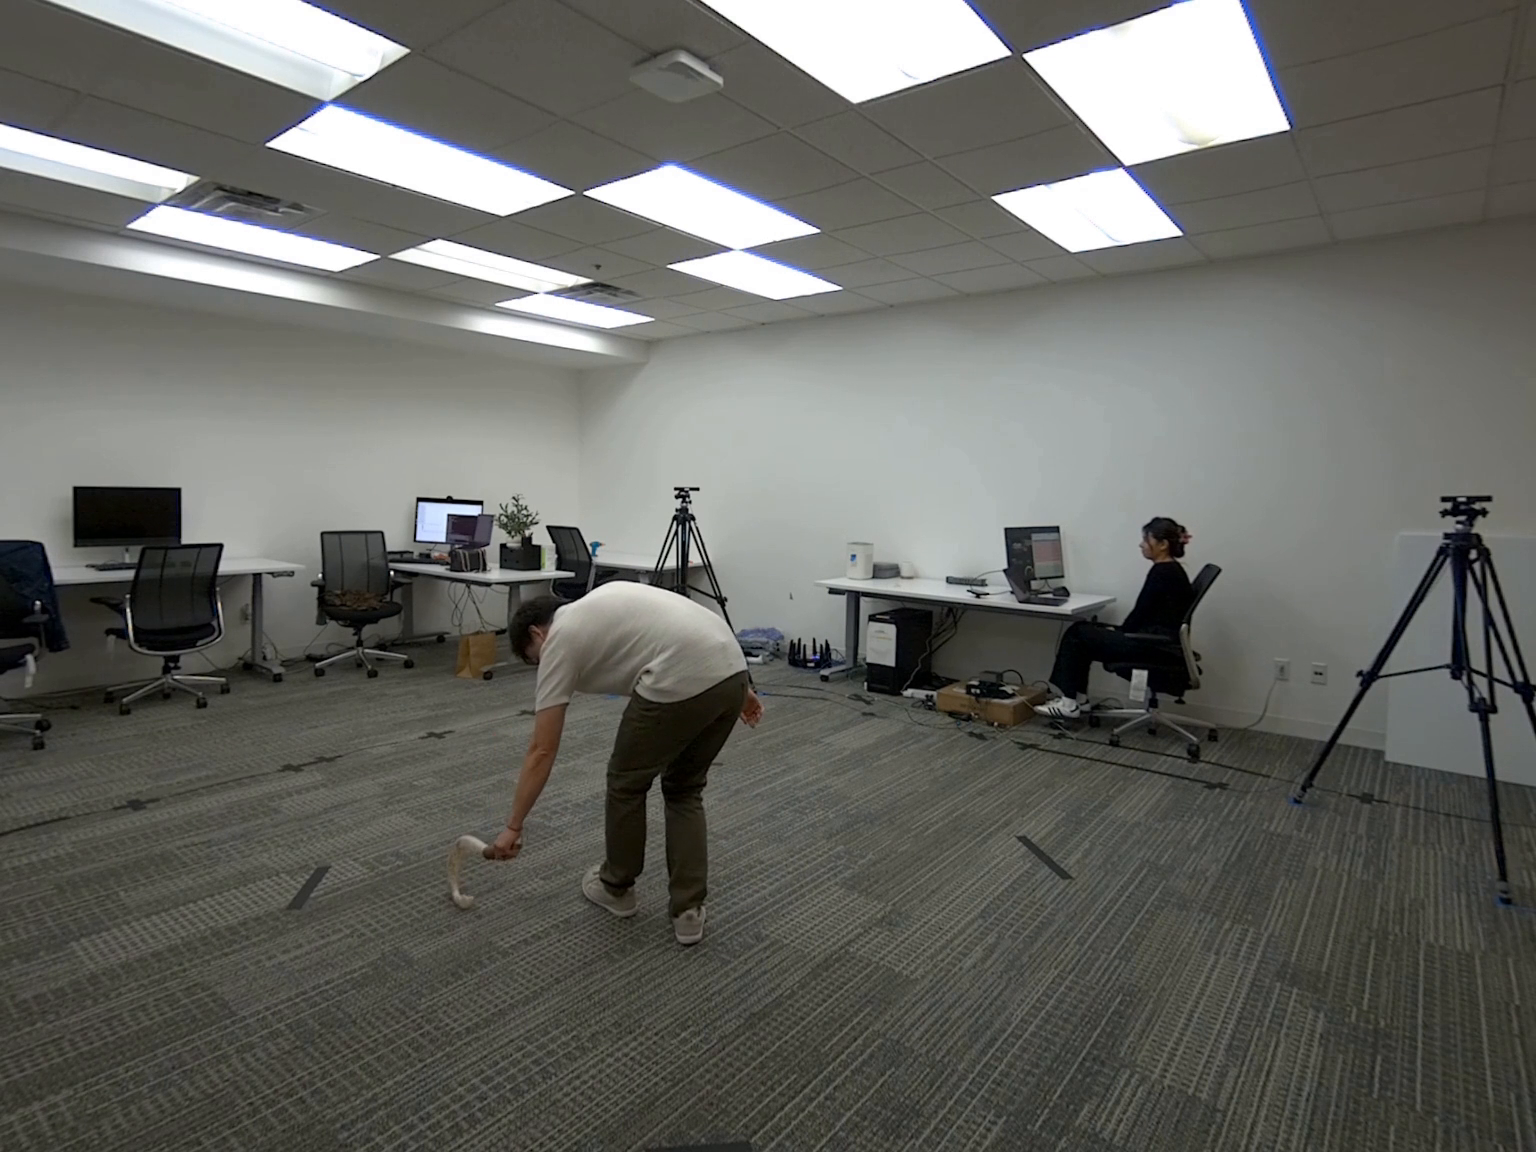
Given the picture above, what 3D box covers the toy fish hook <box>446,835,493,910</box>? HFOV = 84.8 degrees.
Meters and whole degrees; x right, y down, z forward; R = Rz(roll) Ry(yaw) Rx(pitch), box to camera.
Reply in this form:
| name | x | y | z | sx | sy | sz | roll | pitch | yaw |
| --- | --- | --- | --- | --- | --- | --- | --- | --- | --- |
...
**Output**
| name | x | y | z | sx | sy | sz | roll | pitch | yaw |
| --- | --- | --- | --- | --- | --- | --- | --- | --- | --- |
| toy fish hook | -0.928 | 0.941 | 2.735 | 0.046 | 0.229 | 0.515 | 11 | -24 | -39 |
